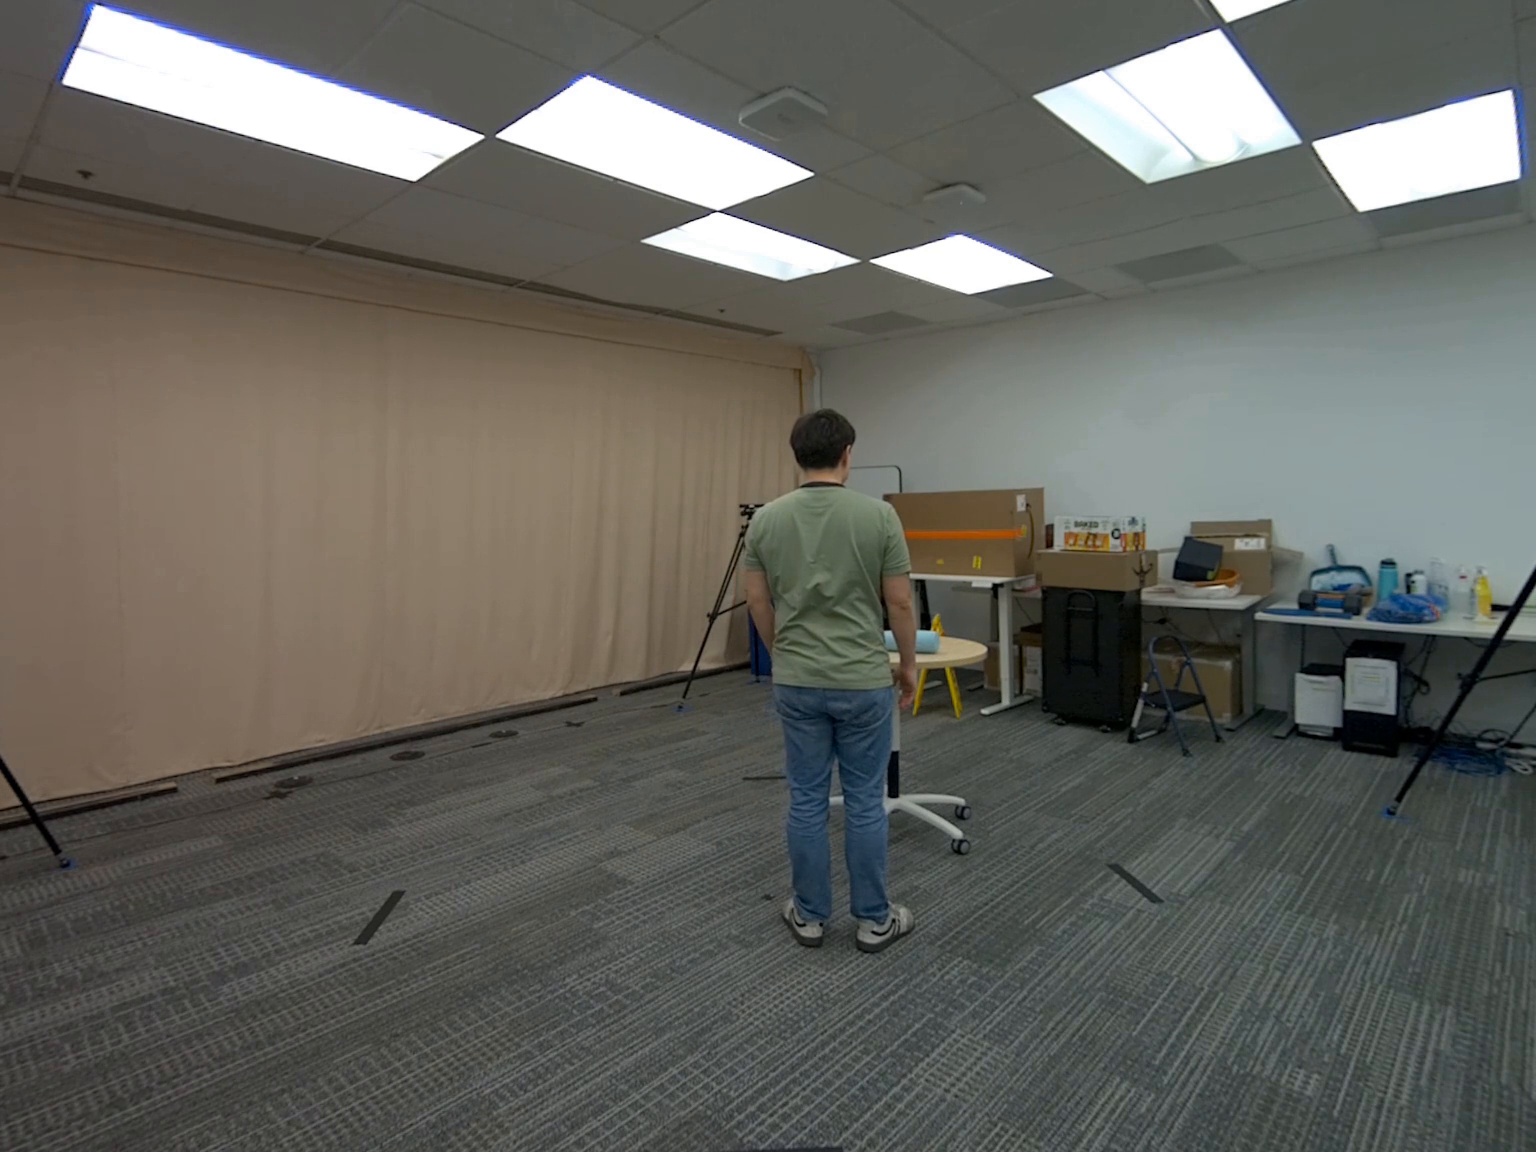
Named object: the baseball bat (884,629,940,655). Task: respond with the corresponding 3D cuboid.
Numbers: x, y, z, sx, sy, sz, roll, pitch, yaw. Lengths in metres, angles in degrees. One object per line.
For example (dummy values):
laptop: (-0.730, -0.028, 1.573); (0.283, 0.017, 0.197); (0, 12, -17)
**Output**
baseball bat: (0.435, 0.269, 3.483); (0.557, 0.089, 0.087); (-1, 3, 28)
